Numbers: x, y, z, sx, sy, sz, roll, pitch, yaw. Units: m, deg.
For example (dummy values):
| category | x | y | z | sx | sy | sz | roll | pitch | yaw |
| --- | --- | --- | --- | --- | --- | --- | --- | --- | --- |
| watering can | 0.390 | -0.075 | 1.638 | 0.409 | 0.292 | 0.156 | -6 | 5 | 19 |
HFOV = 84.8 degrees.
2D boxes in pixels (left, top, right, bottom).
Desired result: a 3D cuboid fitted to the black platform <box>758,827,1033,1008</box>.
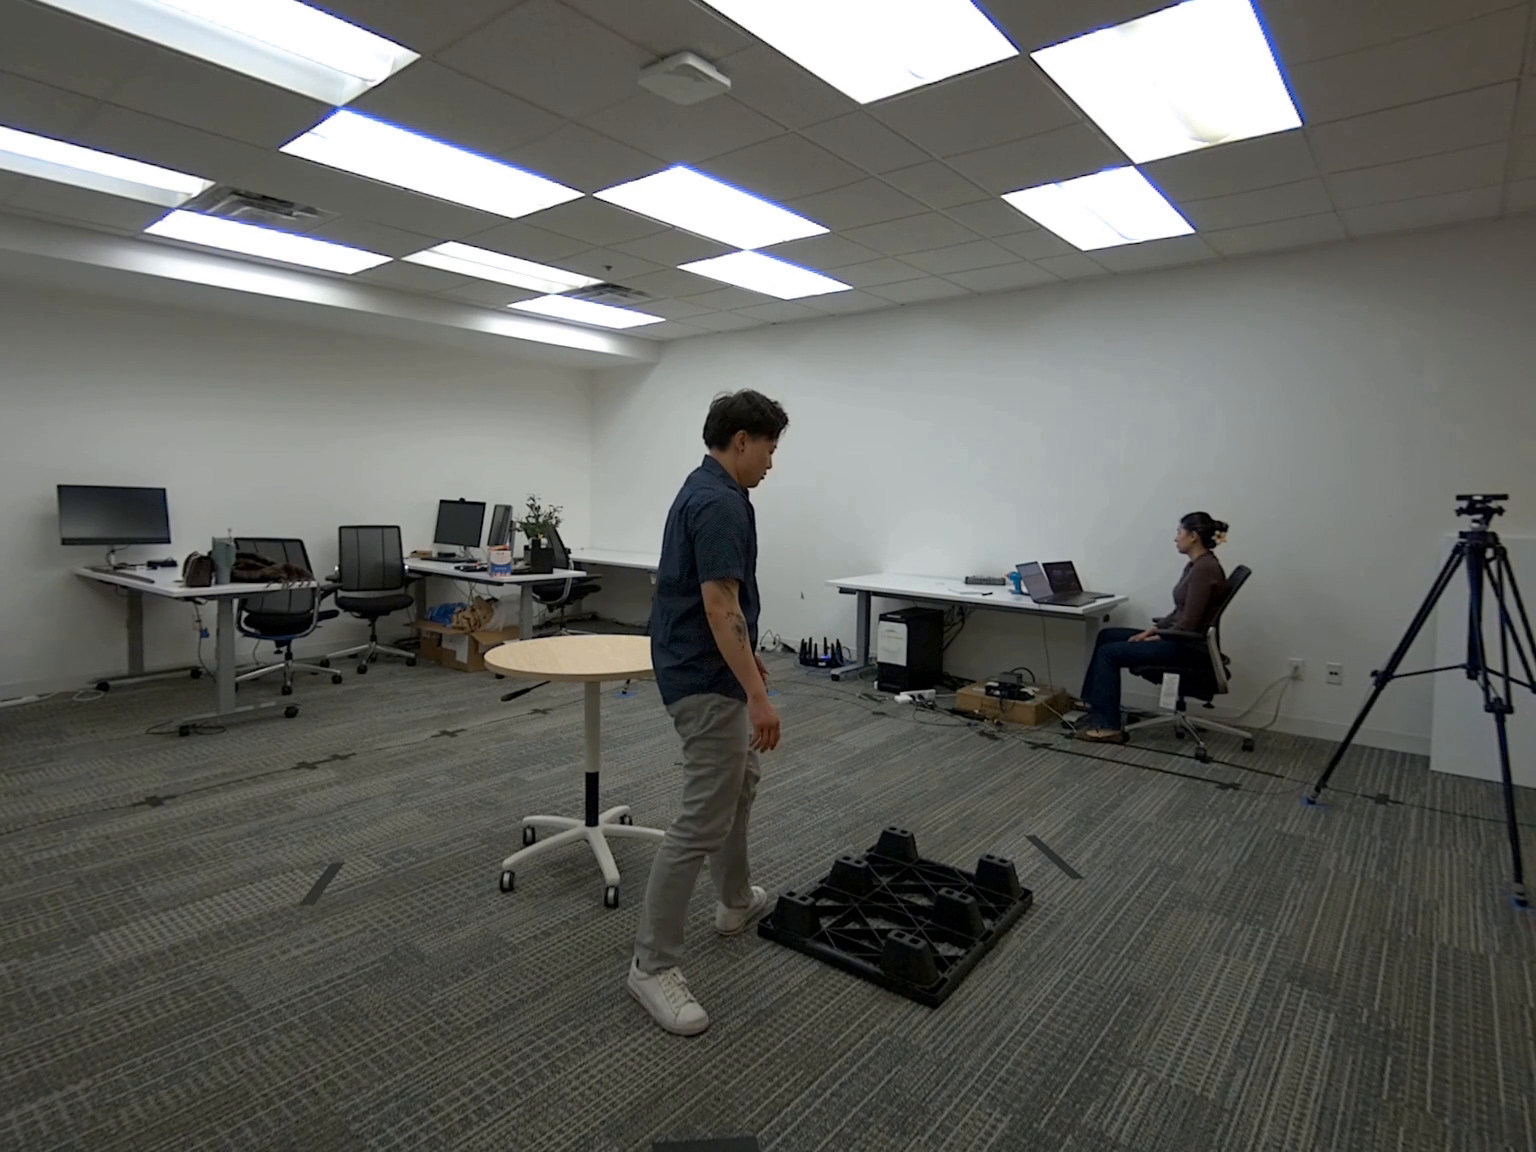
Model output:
| category | x | y | z | sx | sy | sz | roll | pitch | yaw |
| --- | --- | --- | --- | --- | --- | --- | --- | --- | --- |
| black platform | 0.429 | 1.045 | 2.764 | 0.625 | 0.143 | 0.783 | 5 | 7 | 36 |
